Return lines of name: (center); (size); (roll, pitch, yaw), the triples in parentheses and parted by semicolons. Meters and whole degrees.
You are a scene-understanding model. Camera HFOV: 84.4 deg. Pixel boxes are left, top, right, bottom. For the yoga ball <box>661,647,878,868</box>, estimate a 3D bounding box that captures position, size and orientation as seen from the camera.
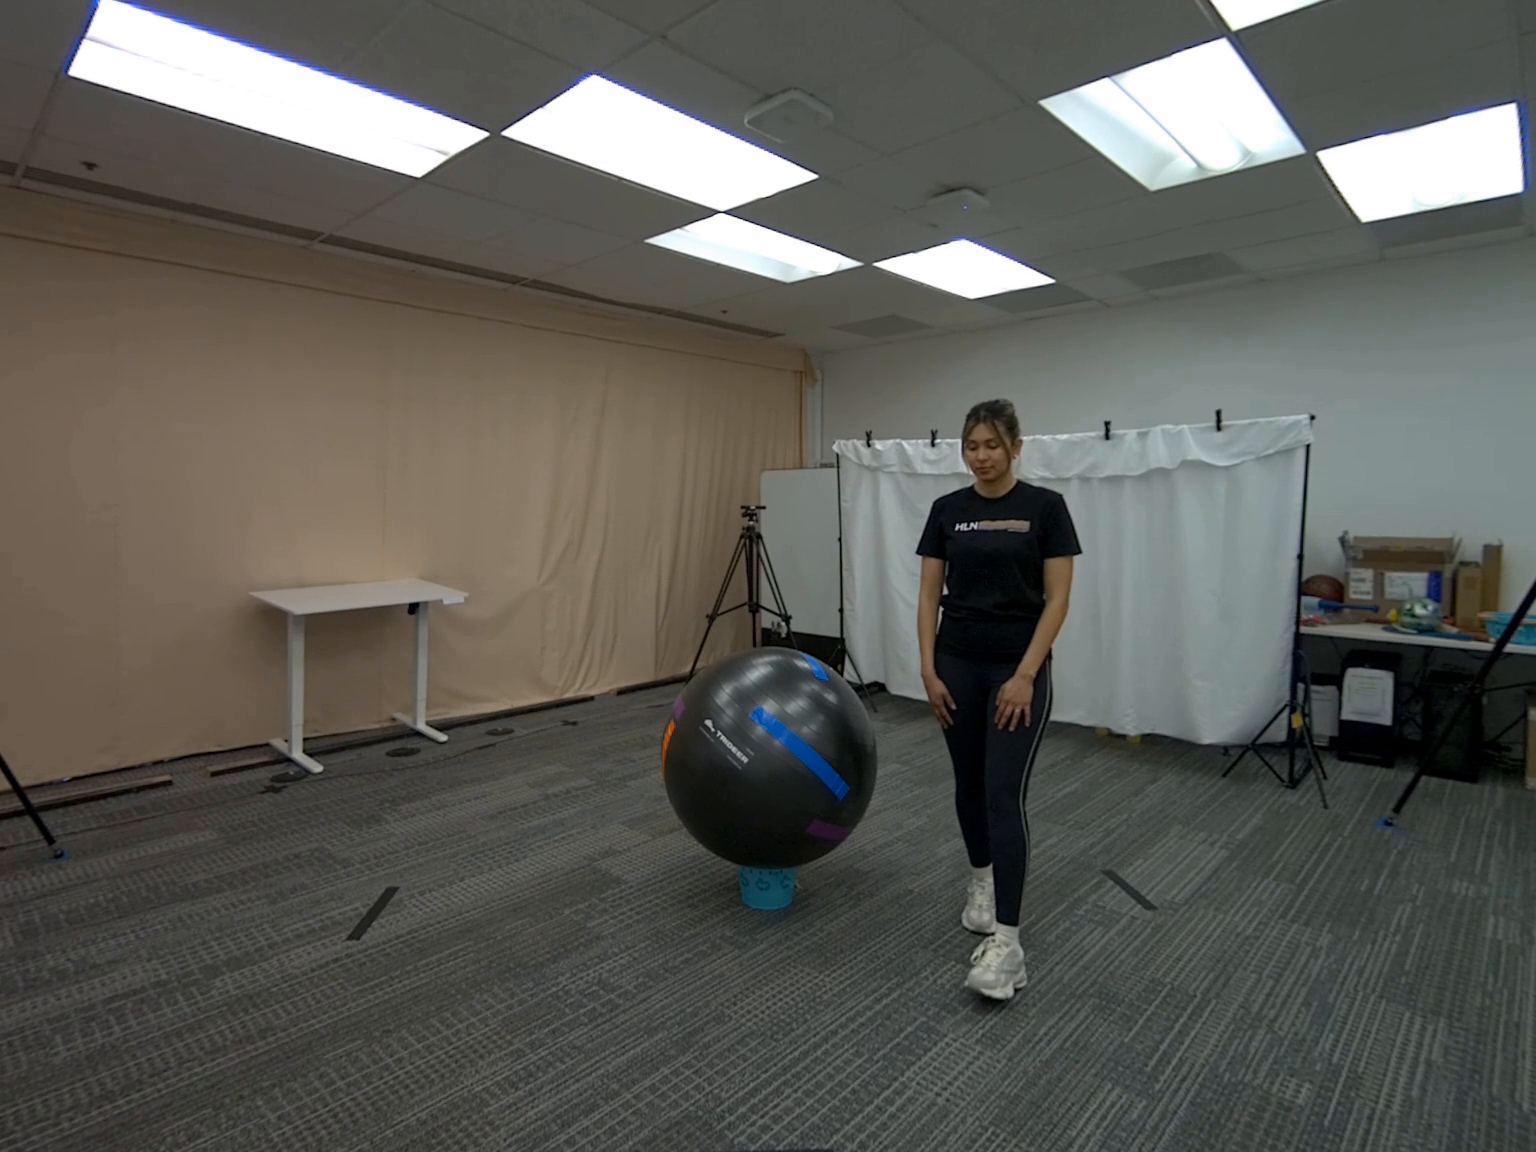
yoga ball: (0.007, 0.638, 2.970); (0.757, 0.756, 0.760); (0, 4, -2)
